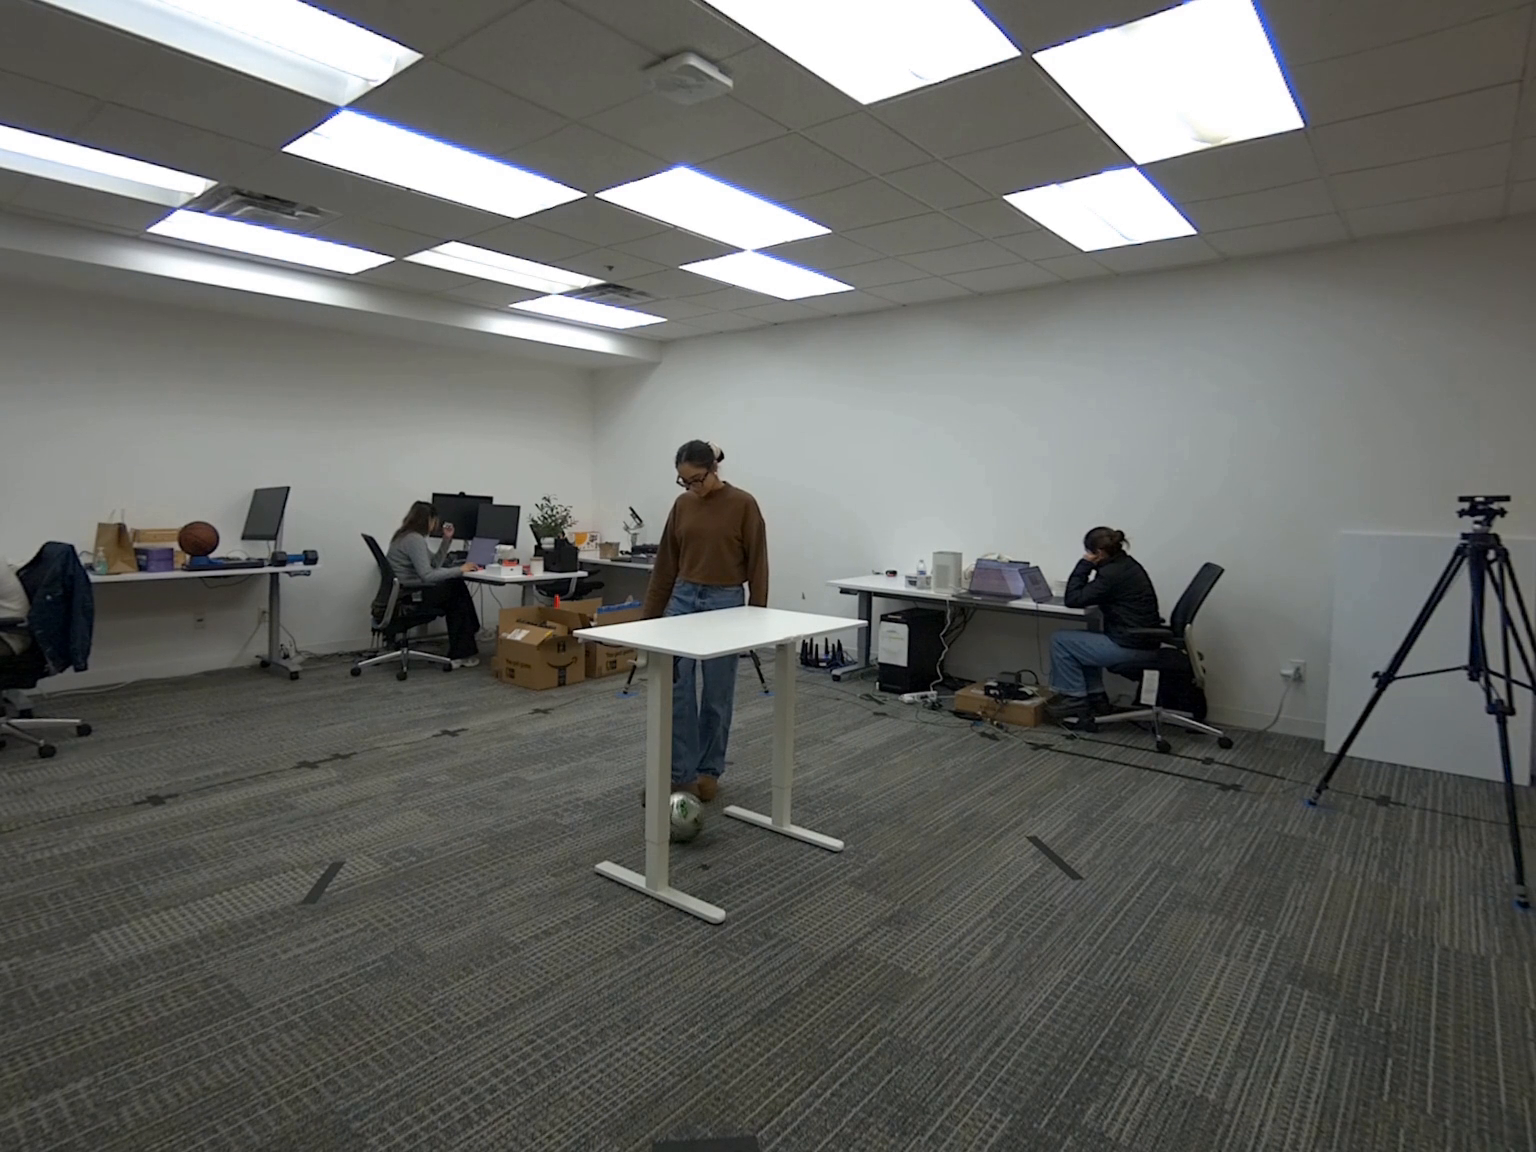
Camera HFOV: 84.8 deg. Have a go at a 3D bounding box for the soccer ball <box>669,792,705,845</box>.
[{"bbox_3d":[-0.356,0.942,3.362,0.187,0.187,0.188,1,4,-2],"label":"soccer ball"}]
